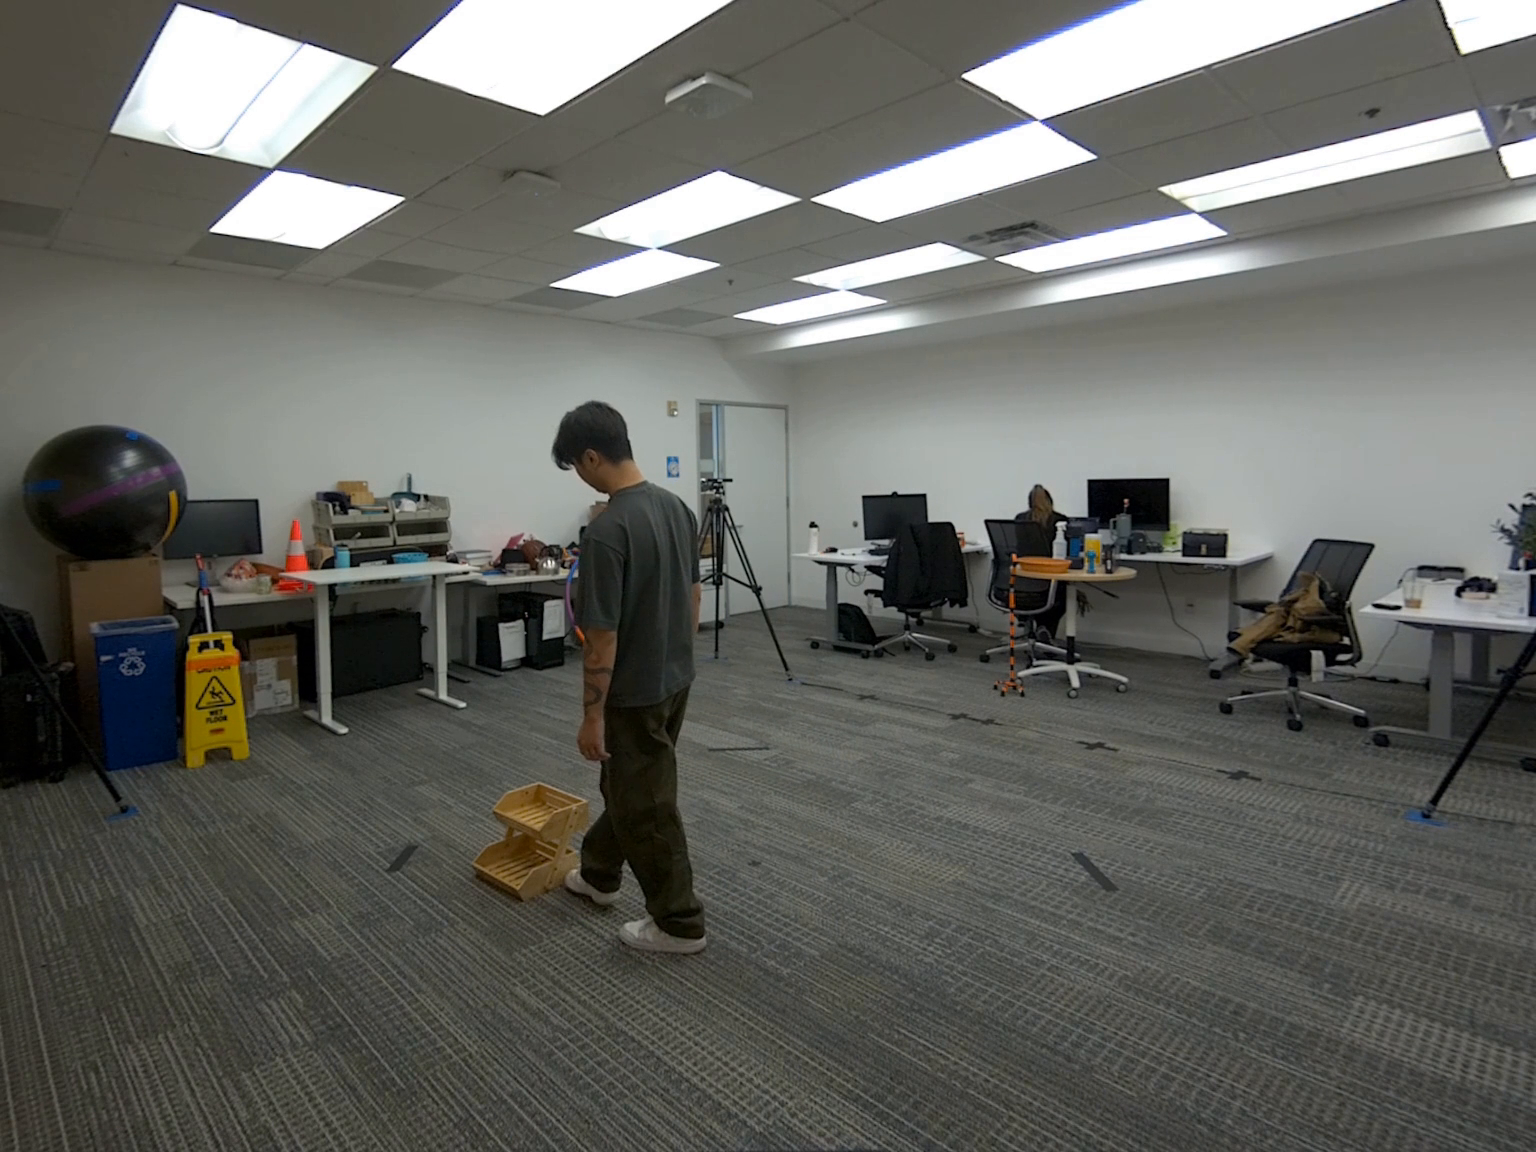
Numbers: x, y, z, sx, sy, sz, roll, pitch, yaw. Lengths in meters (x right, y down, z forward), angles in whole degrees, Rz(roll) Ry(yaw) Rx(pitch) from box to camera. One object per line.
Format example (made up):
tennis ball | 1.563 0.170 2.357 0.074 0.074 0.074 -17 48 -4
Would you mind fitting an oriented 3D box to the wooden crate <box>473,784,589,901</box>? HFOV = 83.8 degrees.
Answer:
wooden crate | -0.849 0.934 3.048 0.334 0.272 0.294 4 6 42
